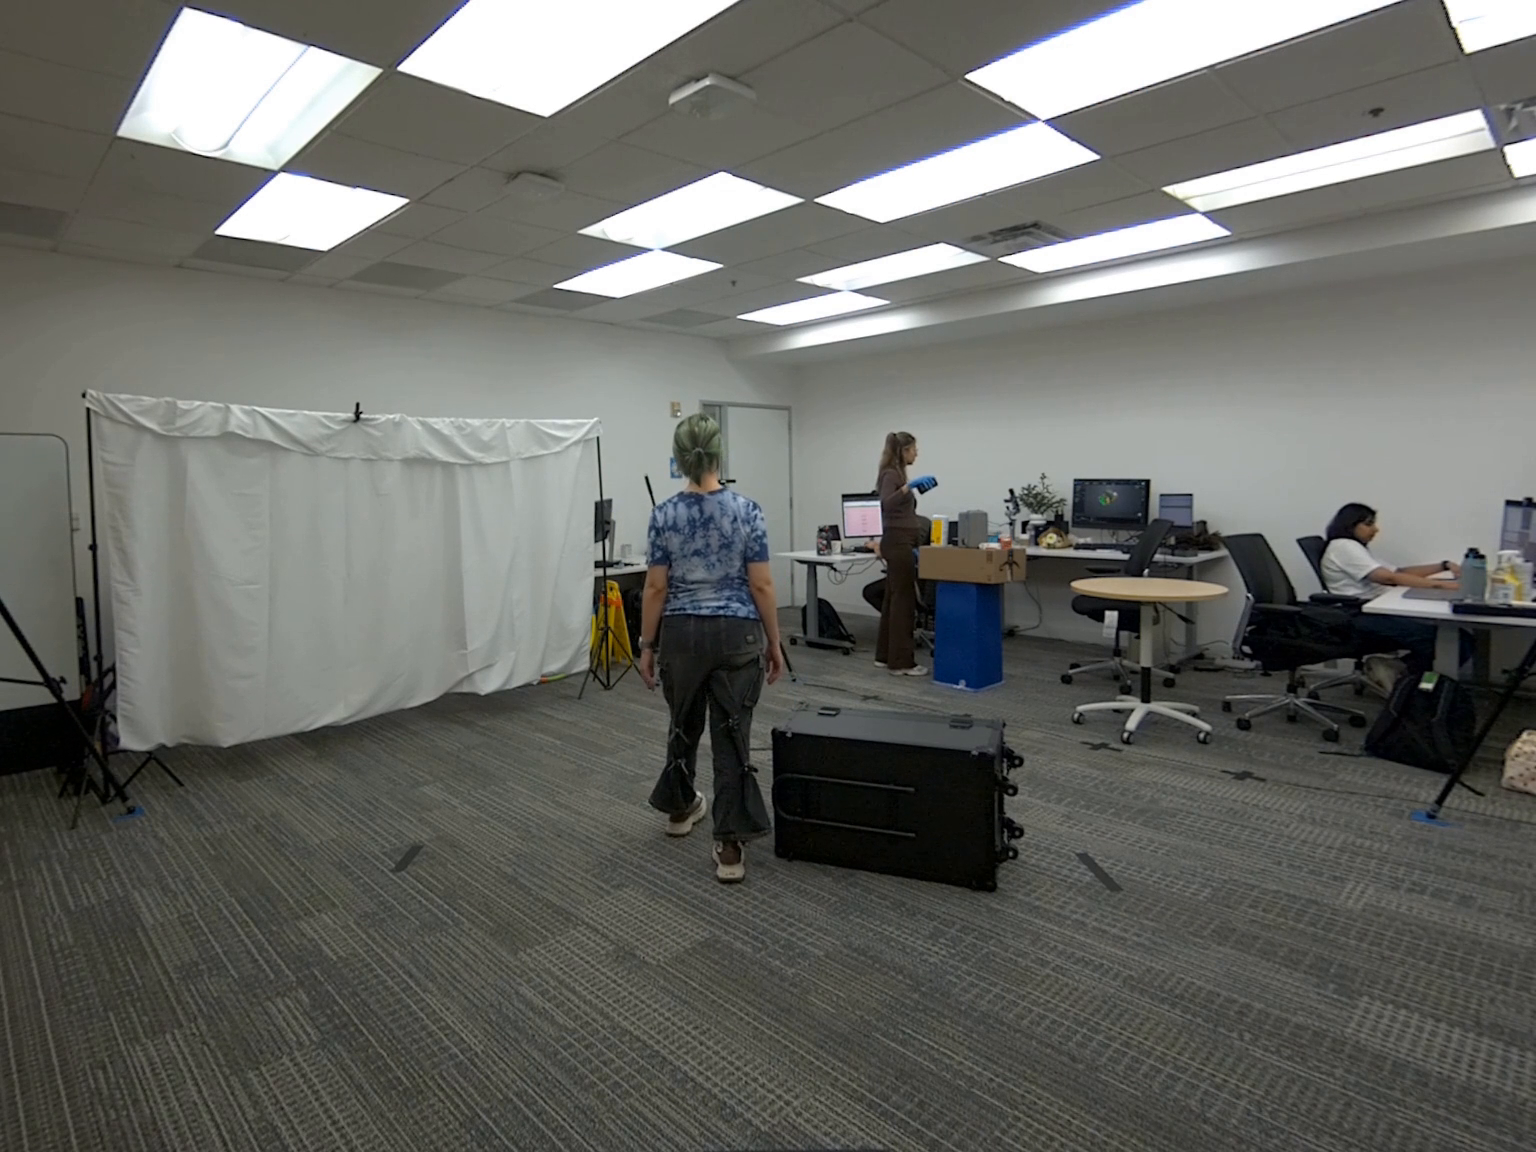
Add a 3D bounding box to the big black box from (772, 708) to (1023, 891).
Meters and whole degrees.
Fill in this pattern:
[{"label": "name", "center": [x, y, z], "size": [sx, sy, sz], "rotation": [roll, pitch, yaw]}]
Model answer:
[{"label": "big black box", "center": [0.475, 0.780, 3.120], "size": [0.879, 0.518, 0.390], "rotation": [1, 7, 22]}]
